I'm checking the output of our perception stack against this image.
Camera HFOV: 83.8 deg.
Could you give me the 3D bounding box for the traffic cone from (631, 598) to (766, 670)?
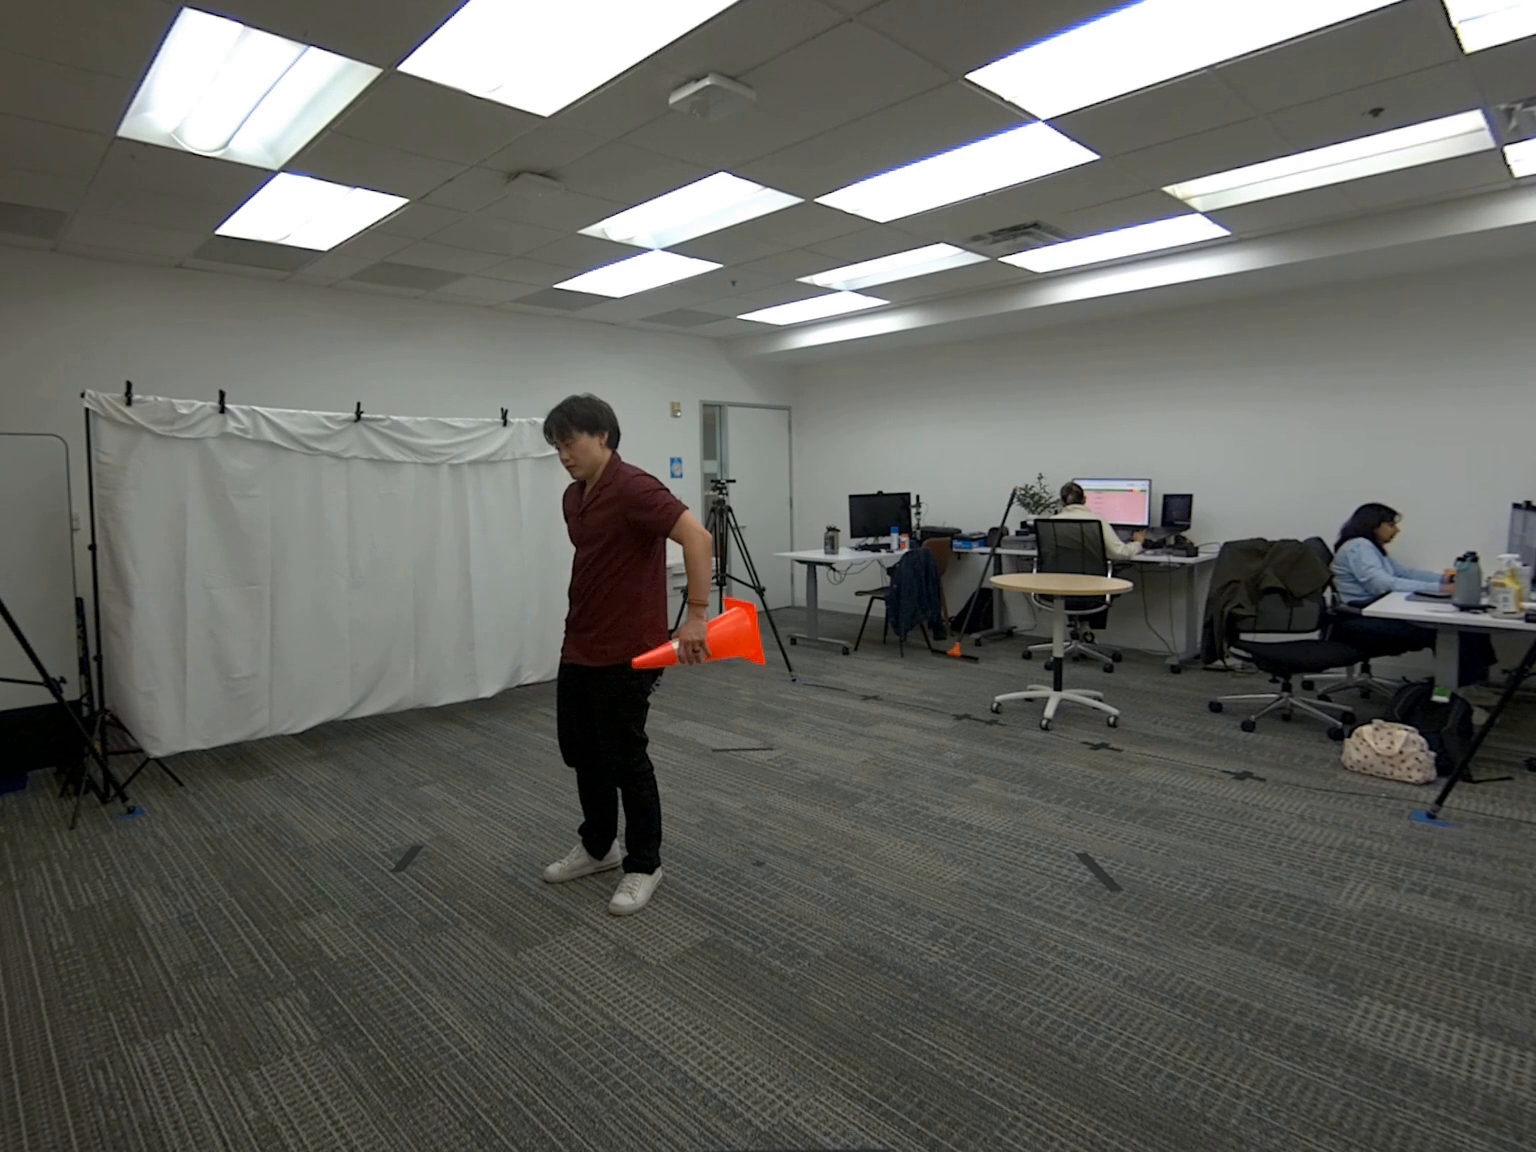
[{"bbox_3d":[-0.236,0.221,2.608,0.377,0.201,0.210,-17,11,-26],"label":"traffic cone"}]
